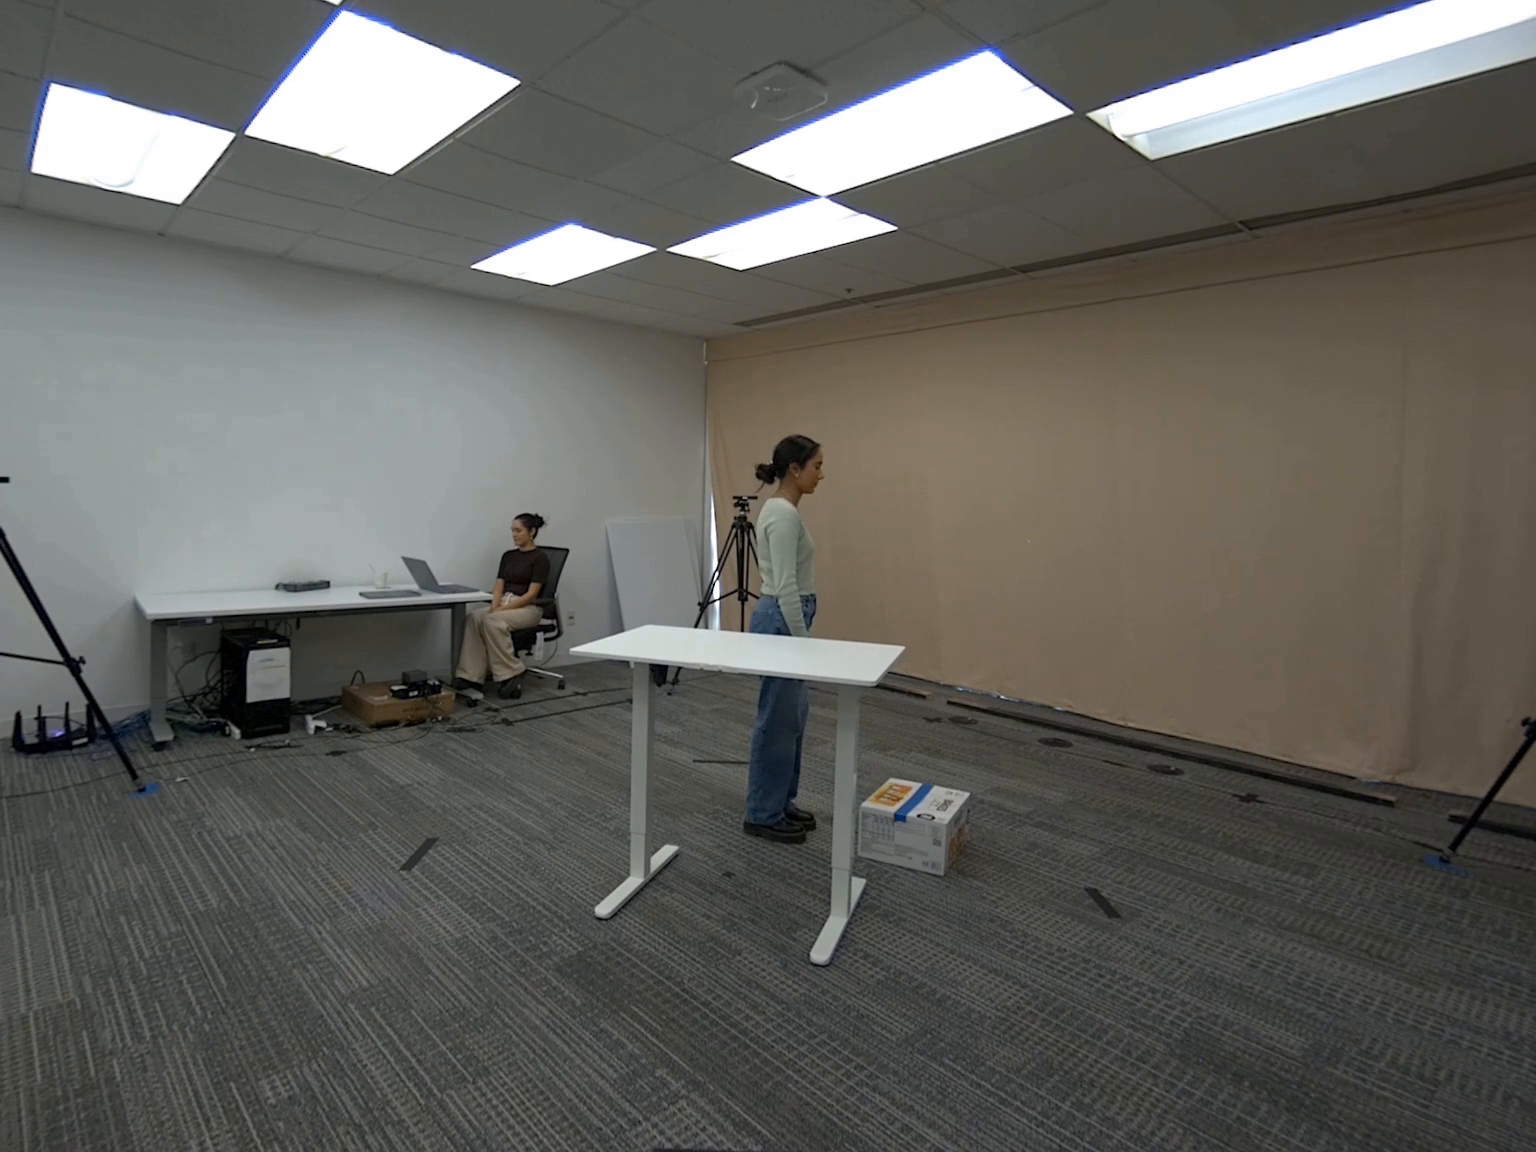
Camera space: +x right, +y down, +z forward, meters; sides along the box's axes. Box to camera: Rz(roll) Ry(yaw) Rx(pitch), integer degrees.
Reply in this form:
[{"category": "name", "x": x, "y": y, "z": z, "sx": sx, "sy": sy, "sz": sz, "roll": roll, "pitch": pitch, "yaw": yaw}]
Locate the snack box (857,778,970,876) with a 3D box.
[{"category": "snack box", "x": 0.586, "y": 0.996, "z": 3.376, "sx": 0.347, "sy": 0.205, "sz": 0.398, "roll": 4, "pitch": 5, "yaw": 27}]
